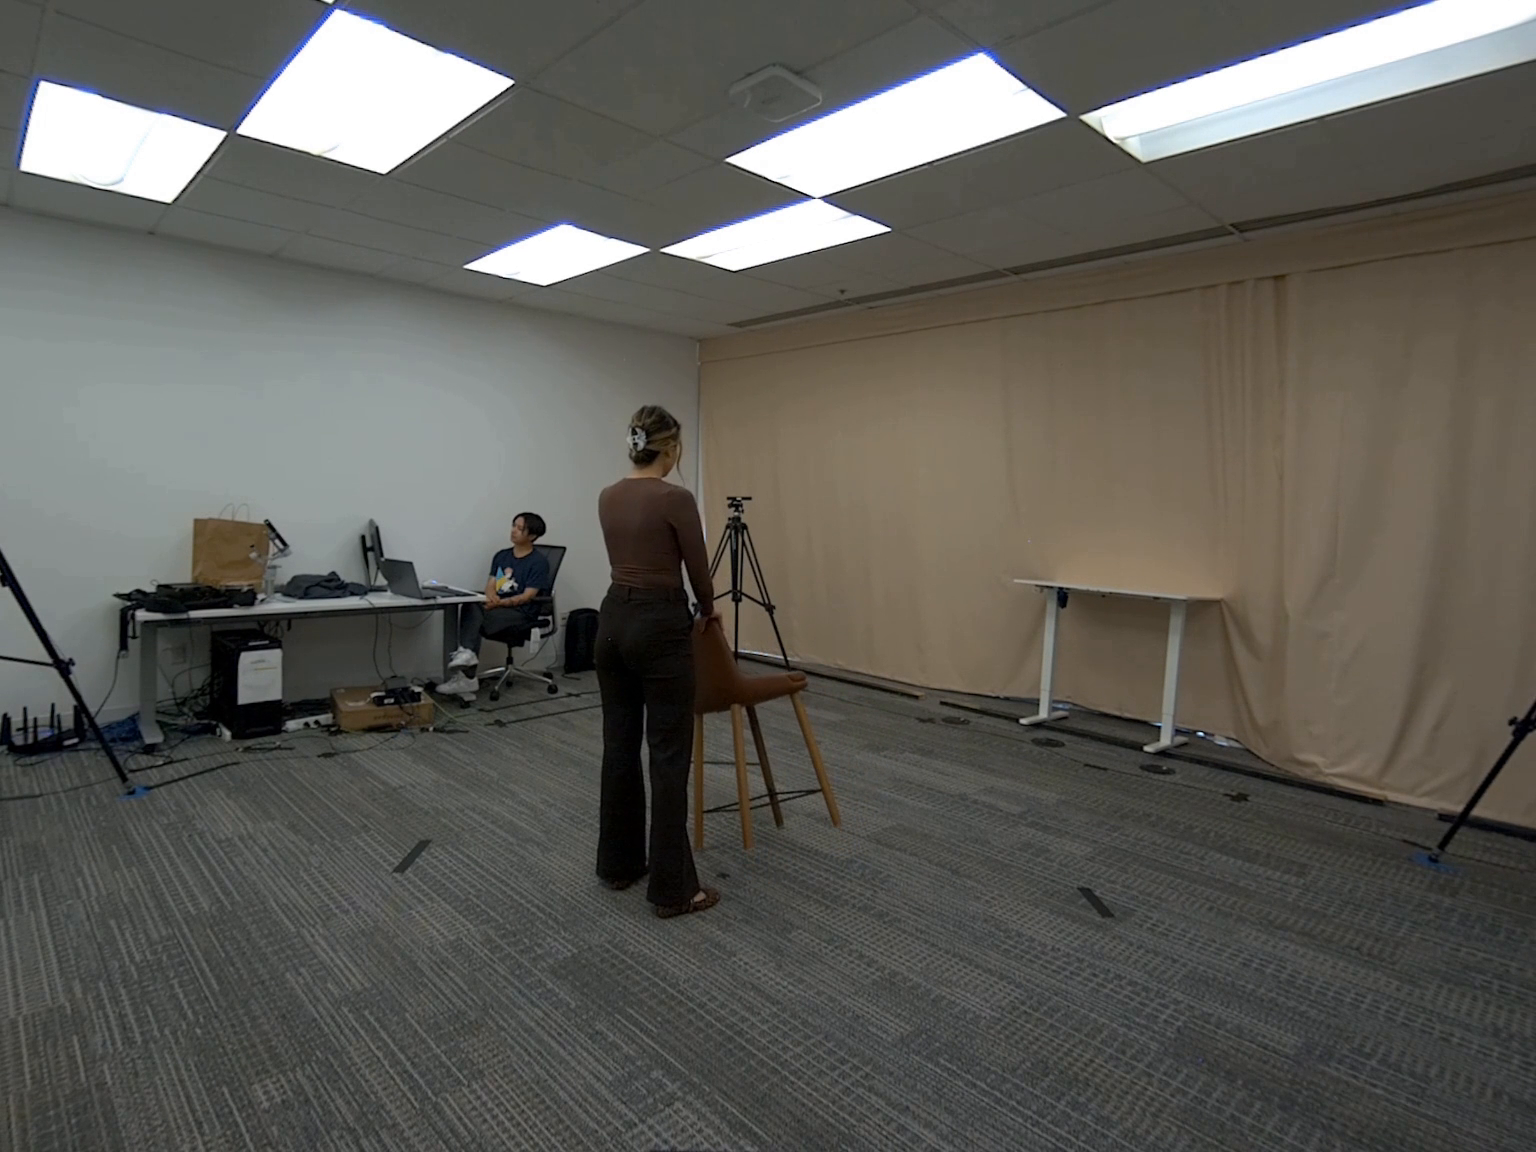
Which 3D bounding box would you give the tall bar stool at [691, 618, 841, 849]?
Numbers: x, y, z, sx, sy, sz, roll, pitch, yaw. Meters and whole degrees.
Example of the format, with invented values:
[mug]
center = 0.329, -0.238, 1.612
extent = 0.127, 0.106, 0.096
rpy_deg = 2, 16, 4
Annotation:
[tall bar stool]
center = -0.099, 0.609, 3.402
extent = 0.458, 0.899, 0.461
rpy_deg = -4, -14, -36
